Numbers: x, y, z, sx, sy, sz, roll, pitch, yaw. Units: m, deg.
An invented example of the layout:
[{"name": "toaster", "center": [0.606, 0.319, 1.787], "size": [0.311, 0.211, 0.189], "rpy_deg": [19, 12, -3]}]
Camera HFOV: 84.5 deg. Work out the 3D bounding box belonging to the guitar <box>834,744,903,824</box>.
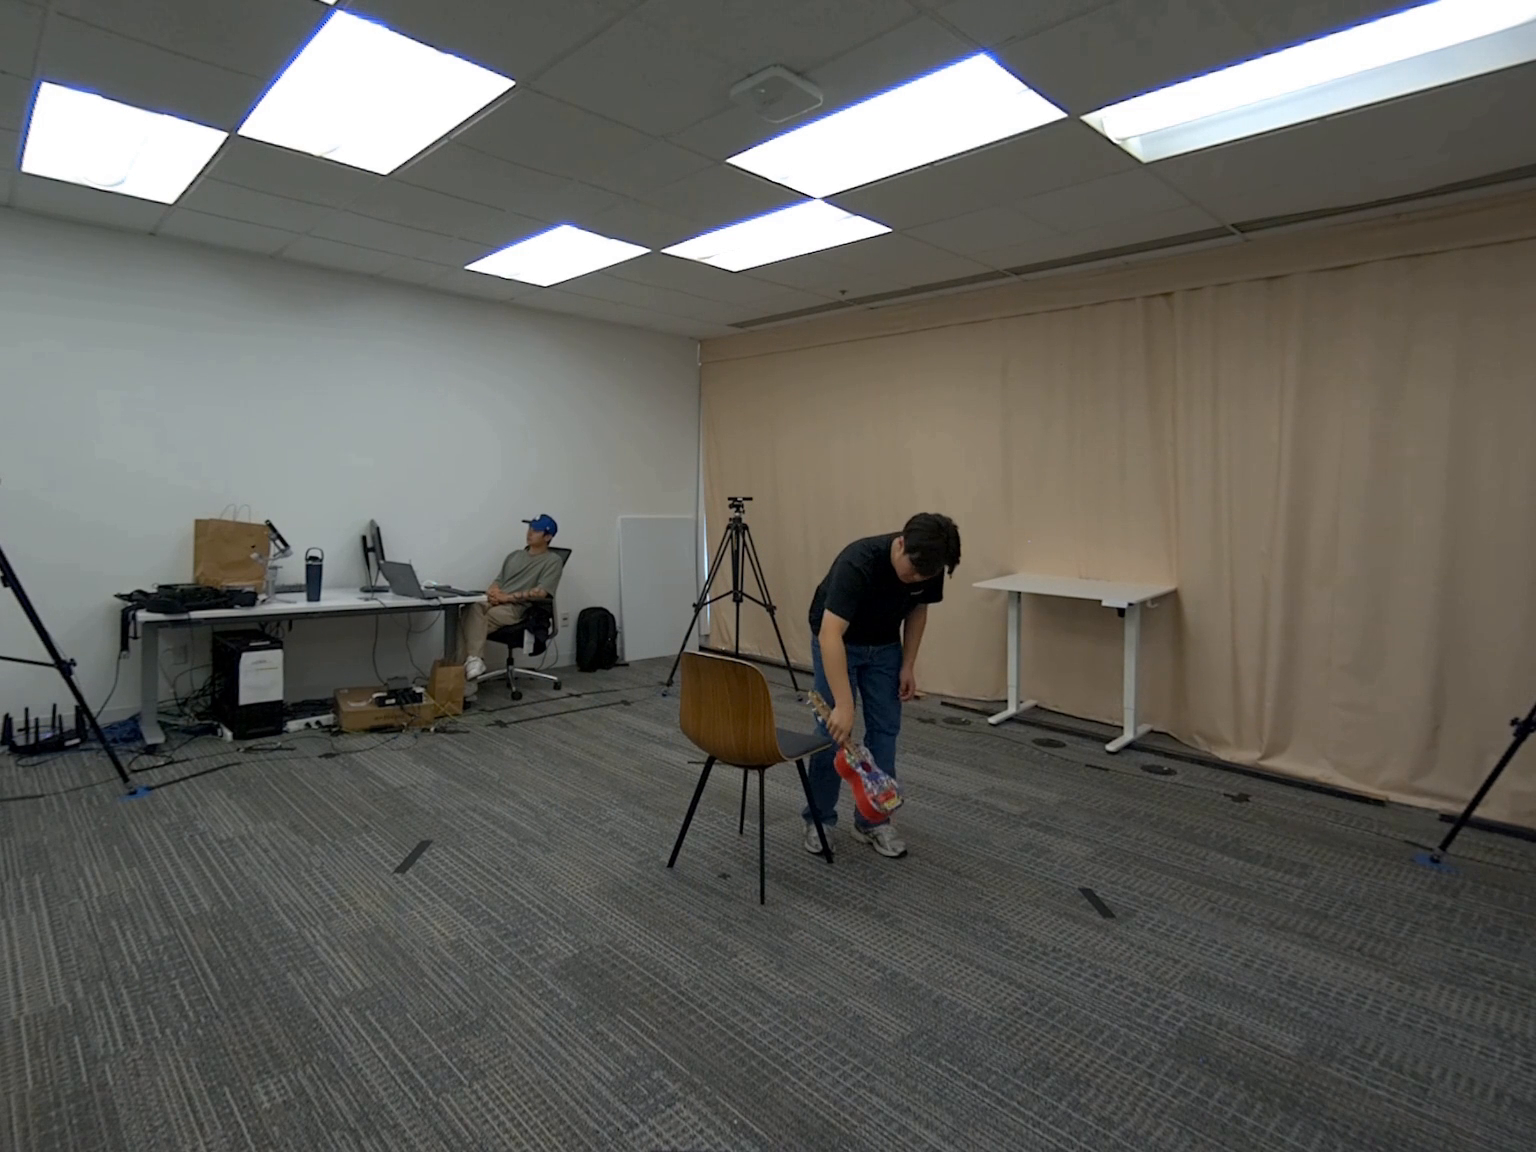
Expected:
[{"name": "guitar", "center": [0.296, 0.619, 2.987], "size": [0.188, 0.511, 0.070], "rpy_deg": [2, -43, -43]}]
